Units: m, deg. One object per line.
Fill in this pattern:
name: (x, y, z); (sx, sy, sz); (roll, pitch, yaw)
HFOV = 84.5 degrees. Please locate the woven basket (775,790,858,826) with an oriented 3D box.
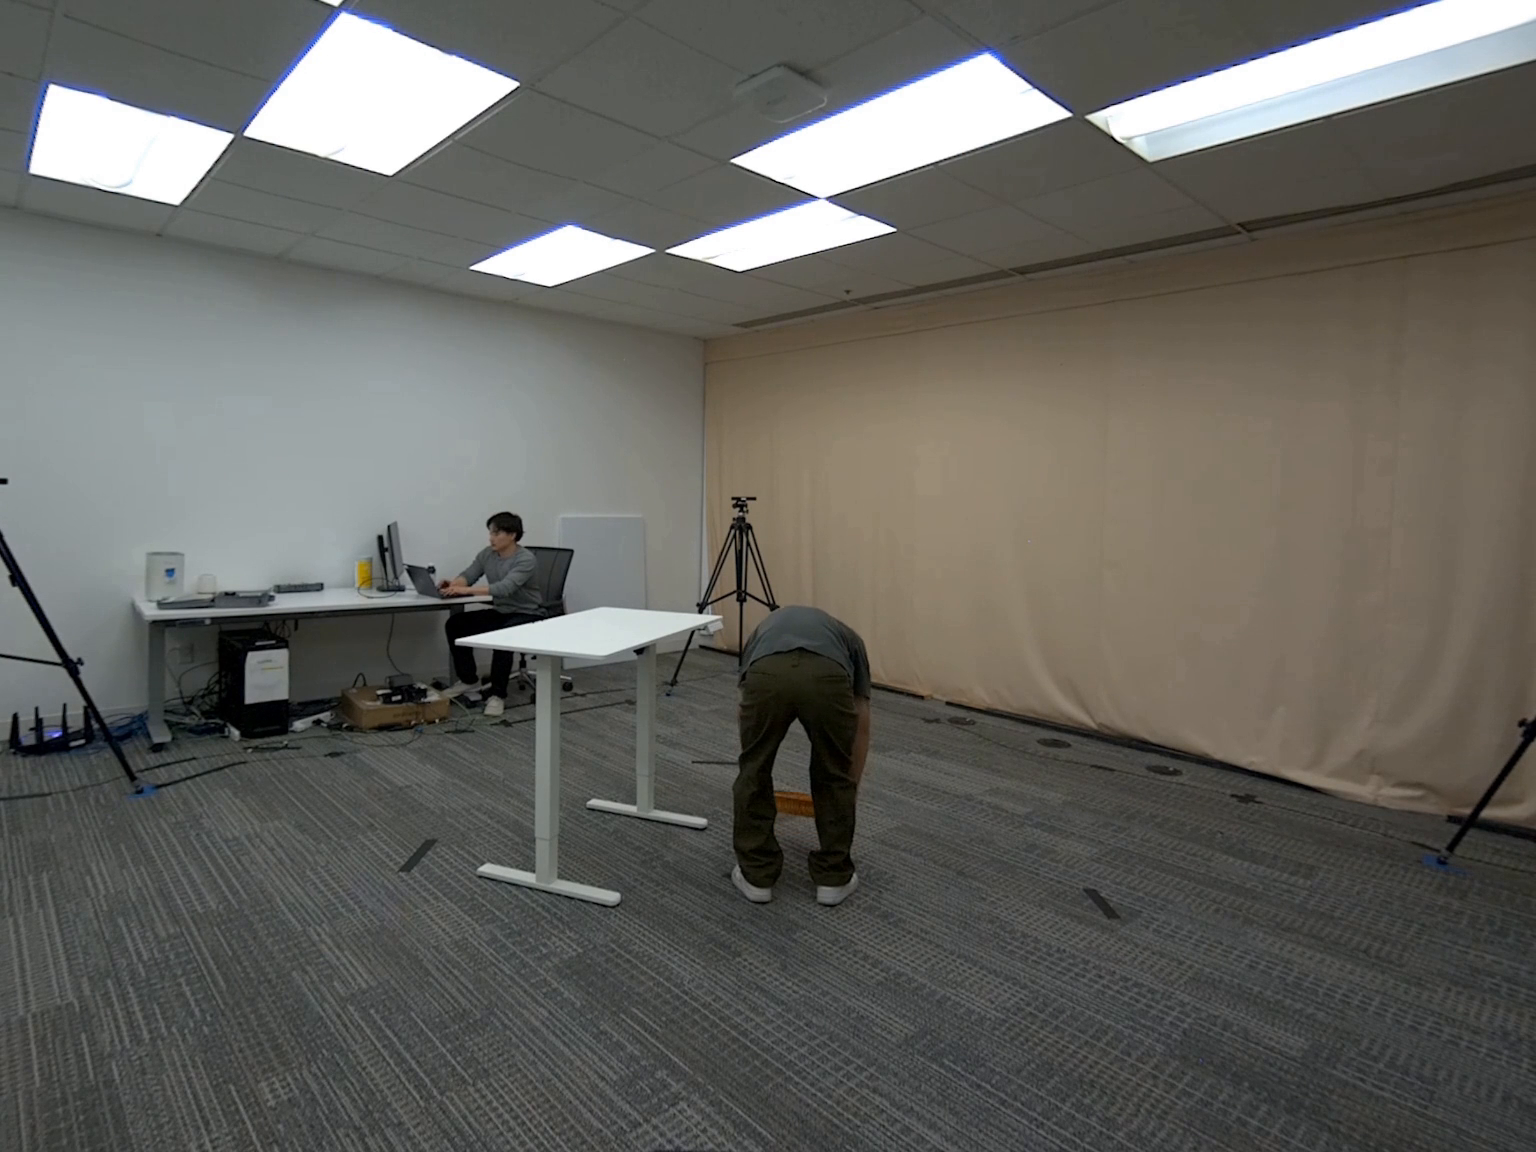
woven basket: (0.142, 0.910, 3.312); (0.356, 0.074, 0.246); (3, -9, 22)
